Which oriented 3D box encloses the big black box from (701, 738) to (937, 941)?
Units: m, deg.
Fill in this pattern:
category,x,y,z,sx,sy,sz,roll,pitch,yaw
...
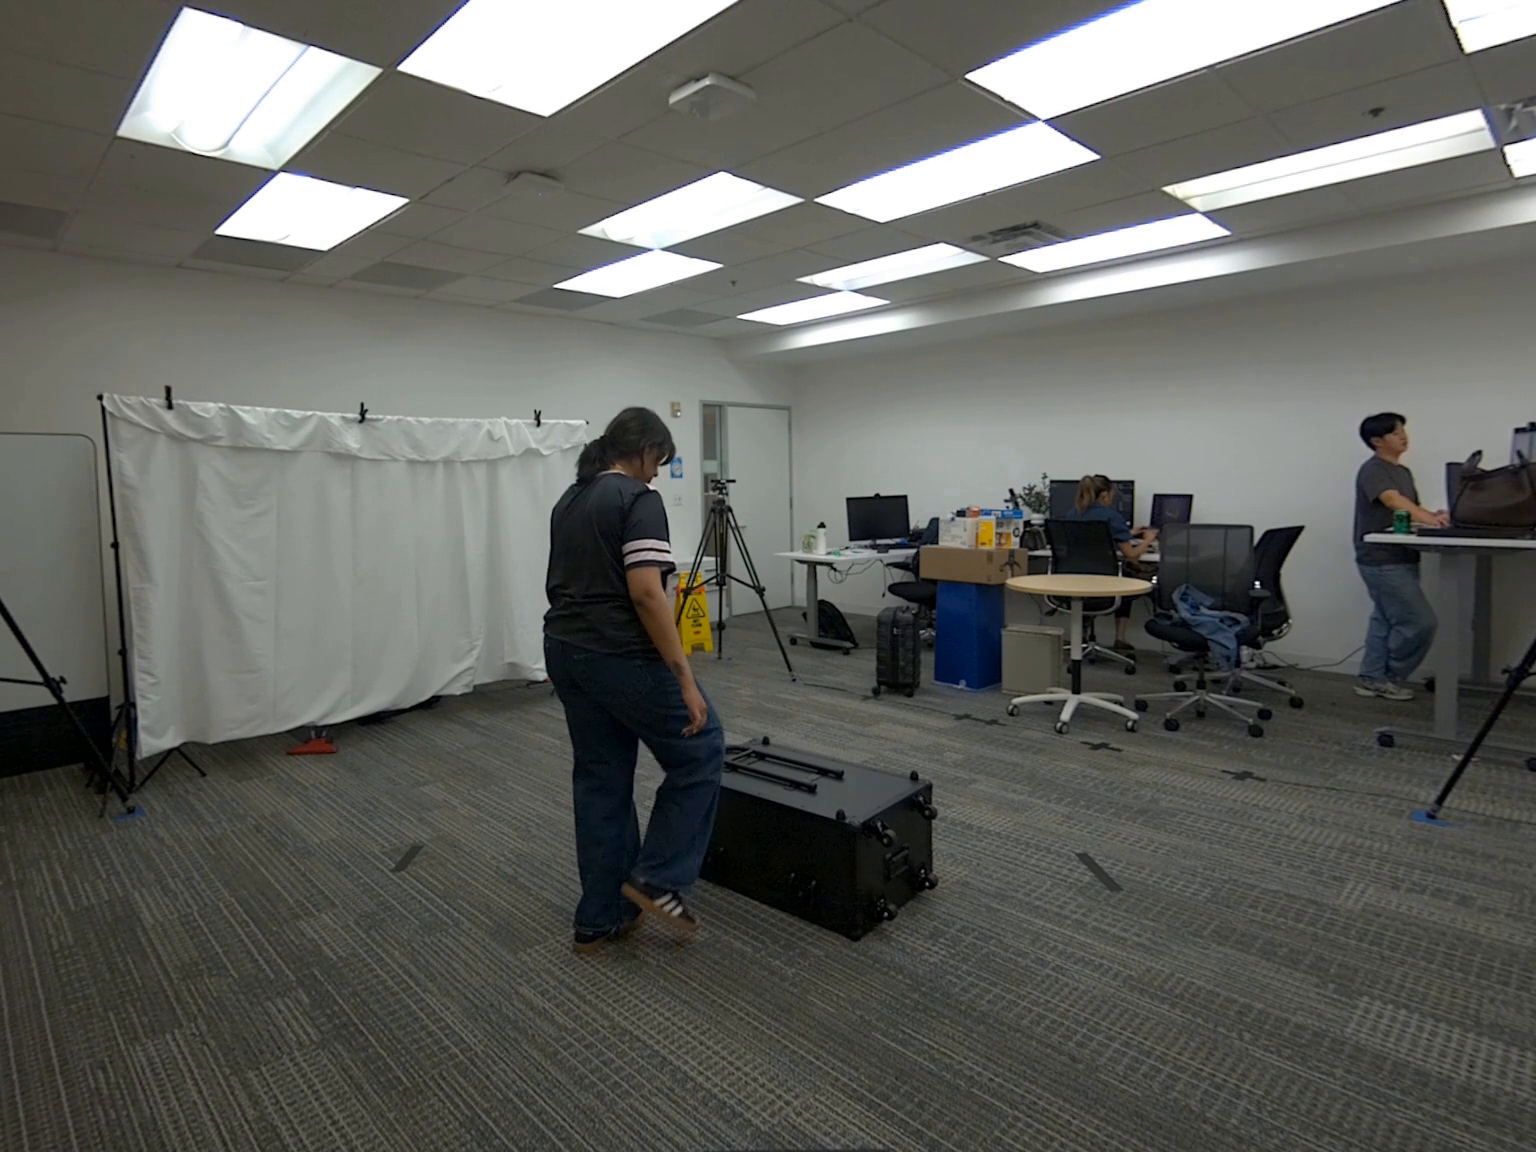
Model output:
category,x,y,z,sx,sy,sz,roll,pitch,yaw
big black box,0.144,0.873,2.980,0.895,0.384,0.509,4,6,40
